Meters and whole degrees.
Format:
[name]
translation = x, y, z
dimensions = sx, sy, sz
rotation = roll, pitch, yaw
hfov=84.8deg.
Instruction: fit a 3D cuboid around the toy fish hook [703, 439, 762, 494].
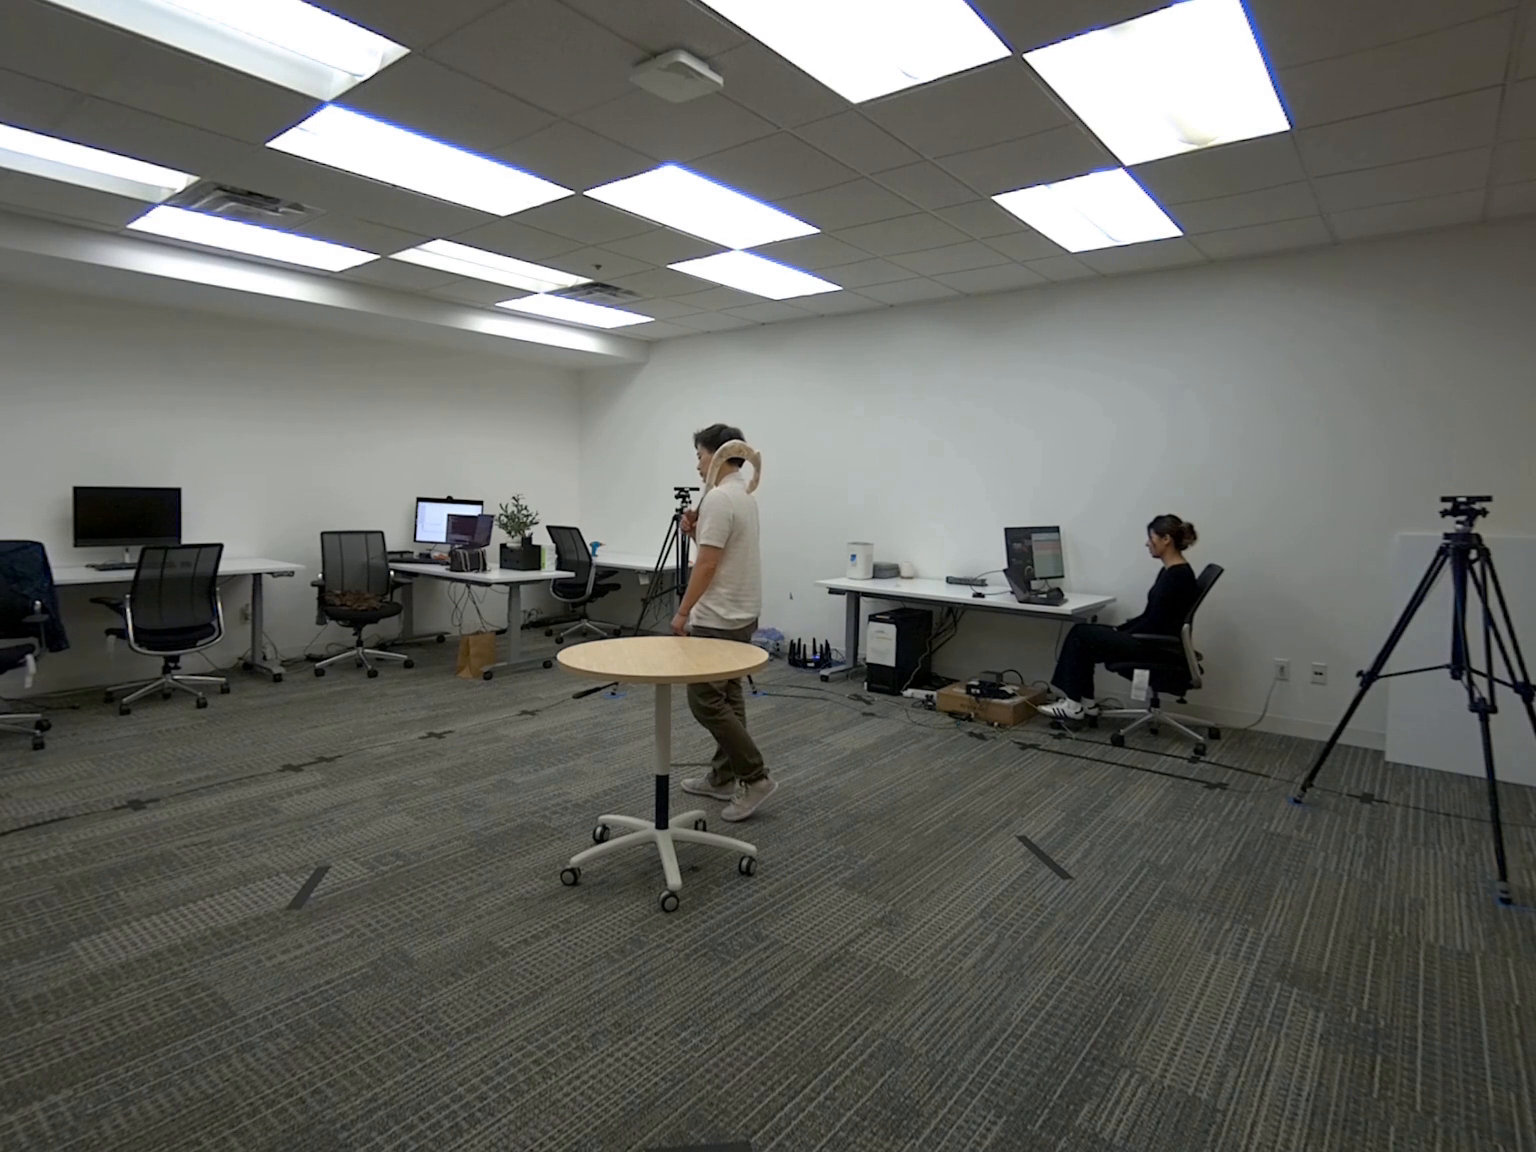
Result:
[toy fish hook]
translation = -0.229, -0.362, 3.706
dimensions = 0.225, 0.504, 0.048
rotation = 33, 18, 1
